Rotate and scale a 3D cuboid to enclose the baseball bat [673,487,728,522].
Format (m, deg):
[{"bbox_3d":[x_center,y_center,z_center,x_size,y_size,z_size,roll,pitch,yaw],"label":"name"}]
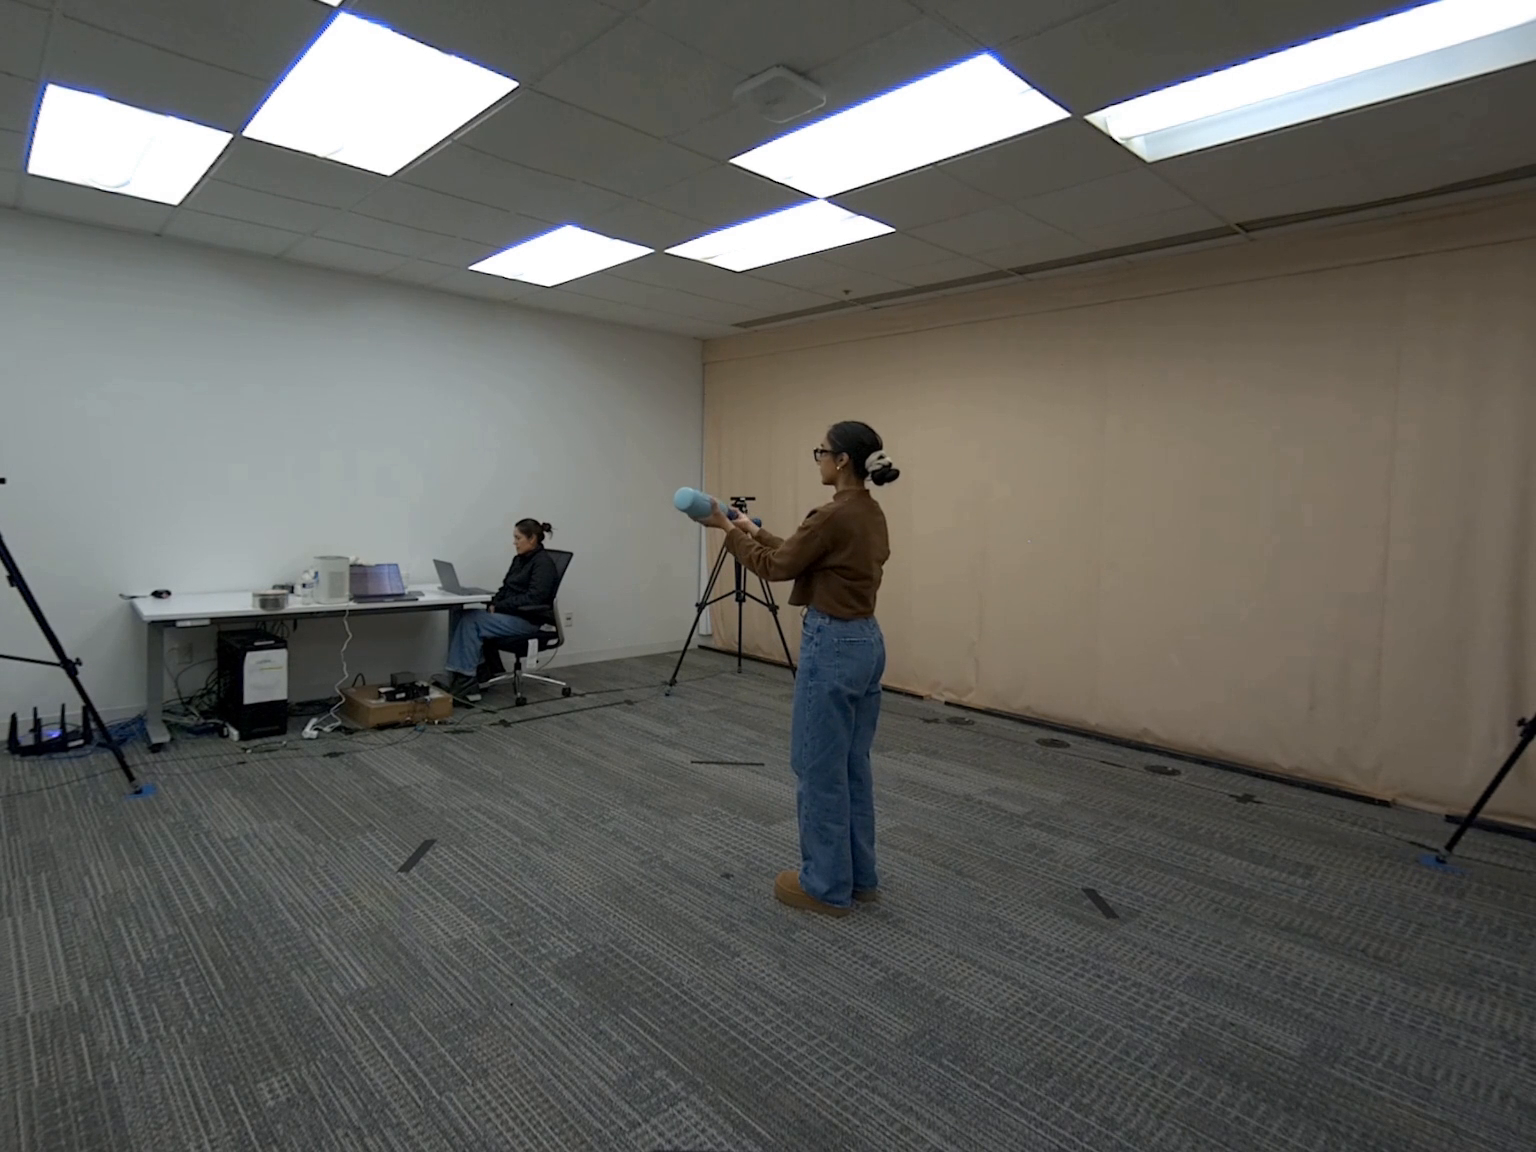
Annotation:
[{"bbox_3d":[-0.163,-0.227,3.067,0.091,0.089,0.530,4,-5,28],"label":"baseball bat"}]
